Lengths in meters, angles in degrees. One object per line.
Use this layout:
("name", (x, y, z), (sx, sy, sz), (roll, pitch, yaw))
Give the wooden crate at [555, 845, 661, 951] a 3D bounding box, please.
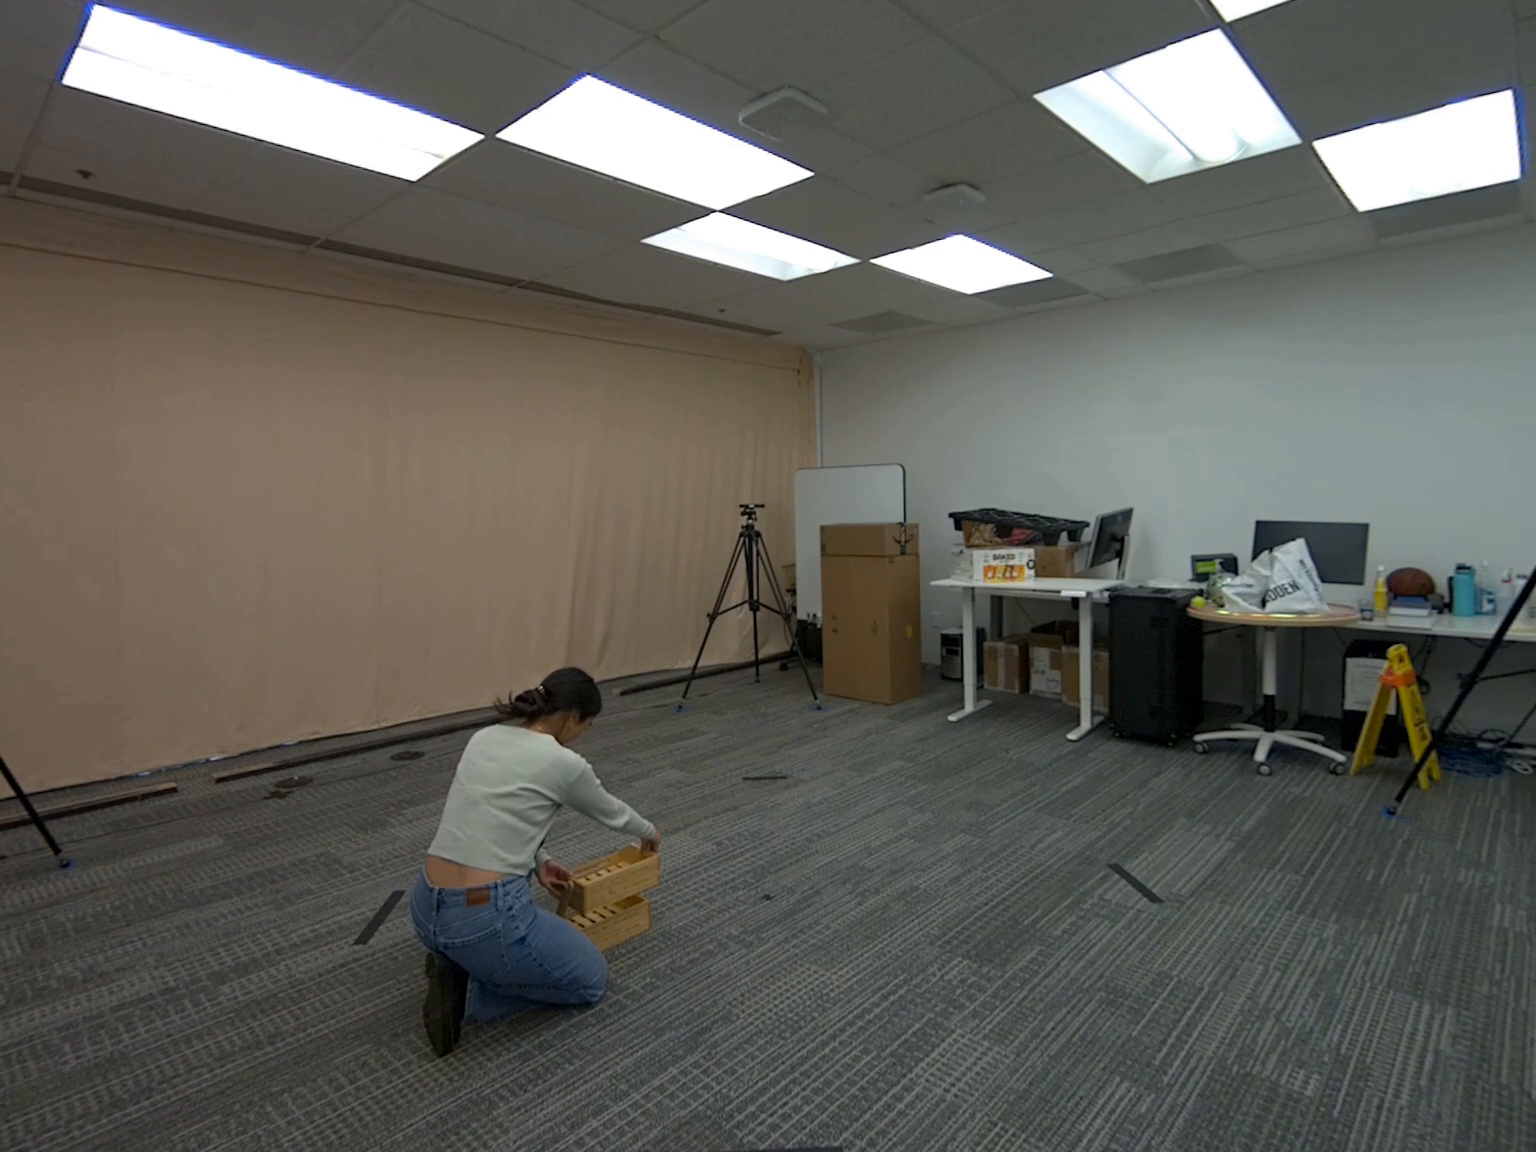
("wooden crate", (-0.565, 1.040, 2.742), (0.312, 0.272, 0.314), (4, 6, 44))
